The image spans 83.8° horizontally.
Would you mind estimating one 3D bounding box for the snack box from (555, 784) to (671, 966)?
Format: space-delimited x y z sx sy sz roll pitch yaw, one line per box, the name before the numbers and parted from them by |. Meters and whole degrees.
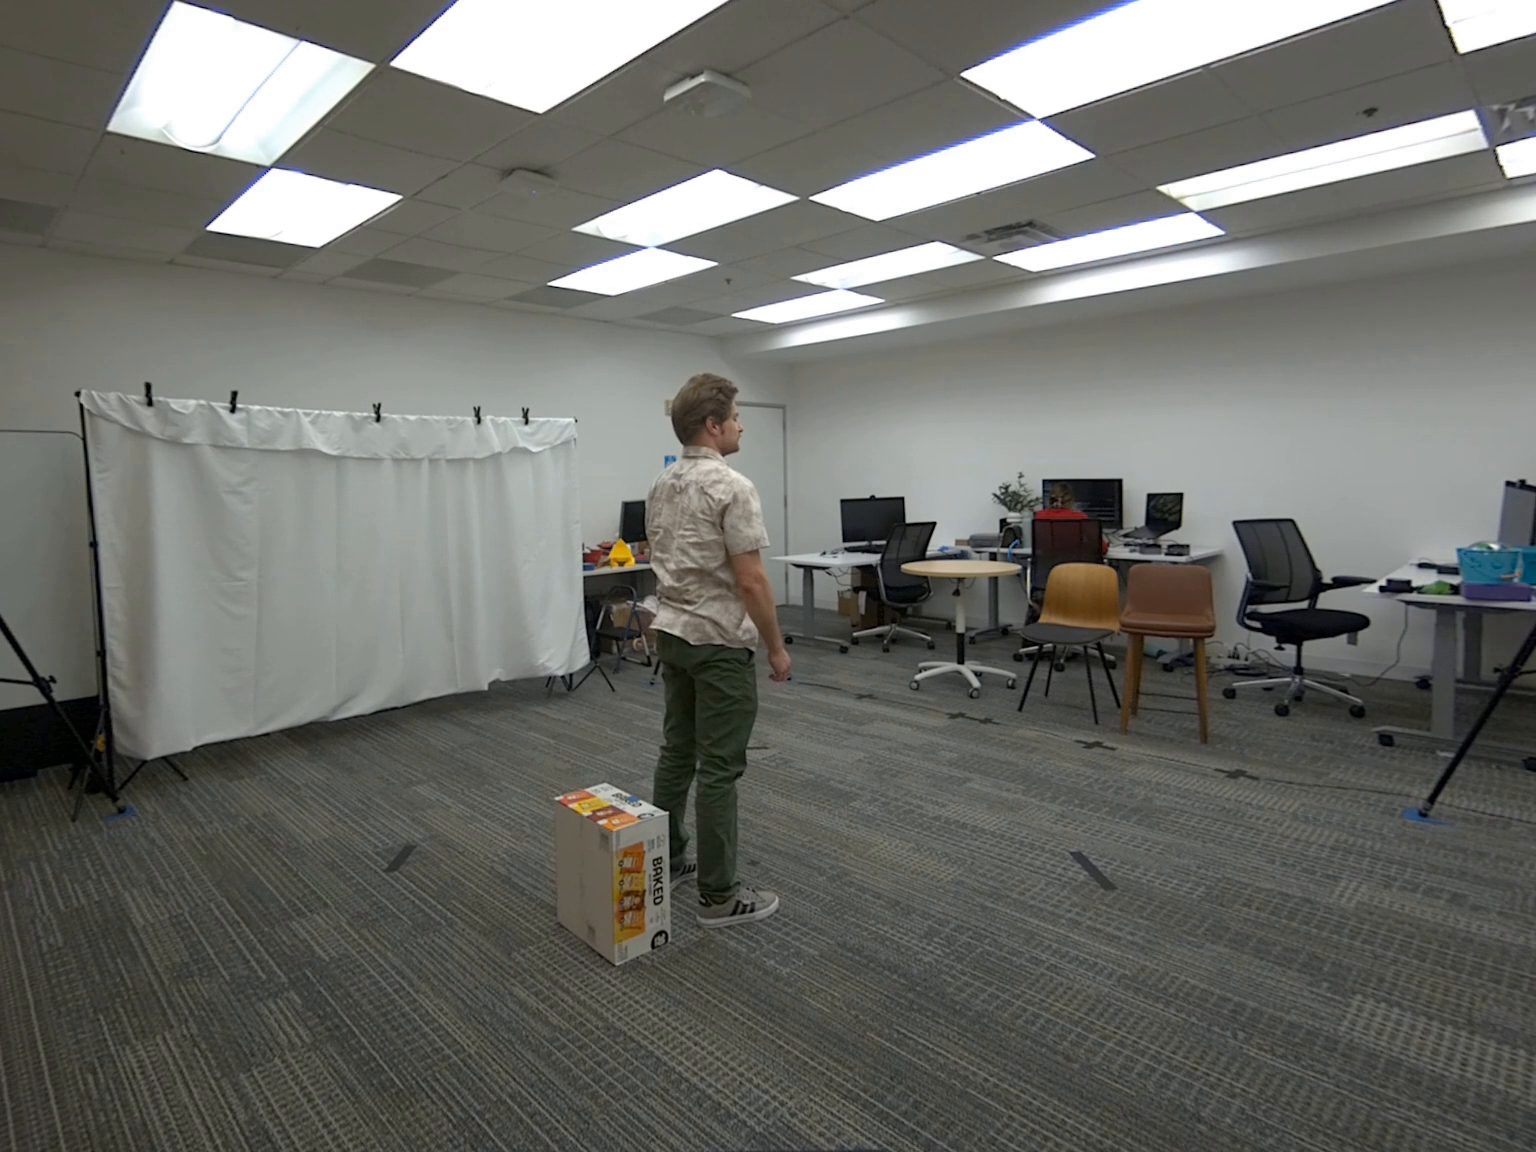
snack box | -0.484 0.905 2.635 0.200 0.404 0.351 -4 6 -42
